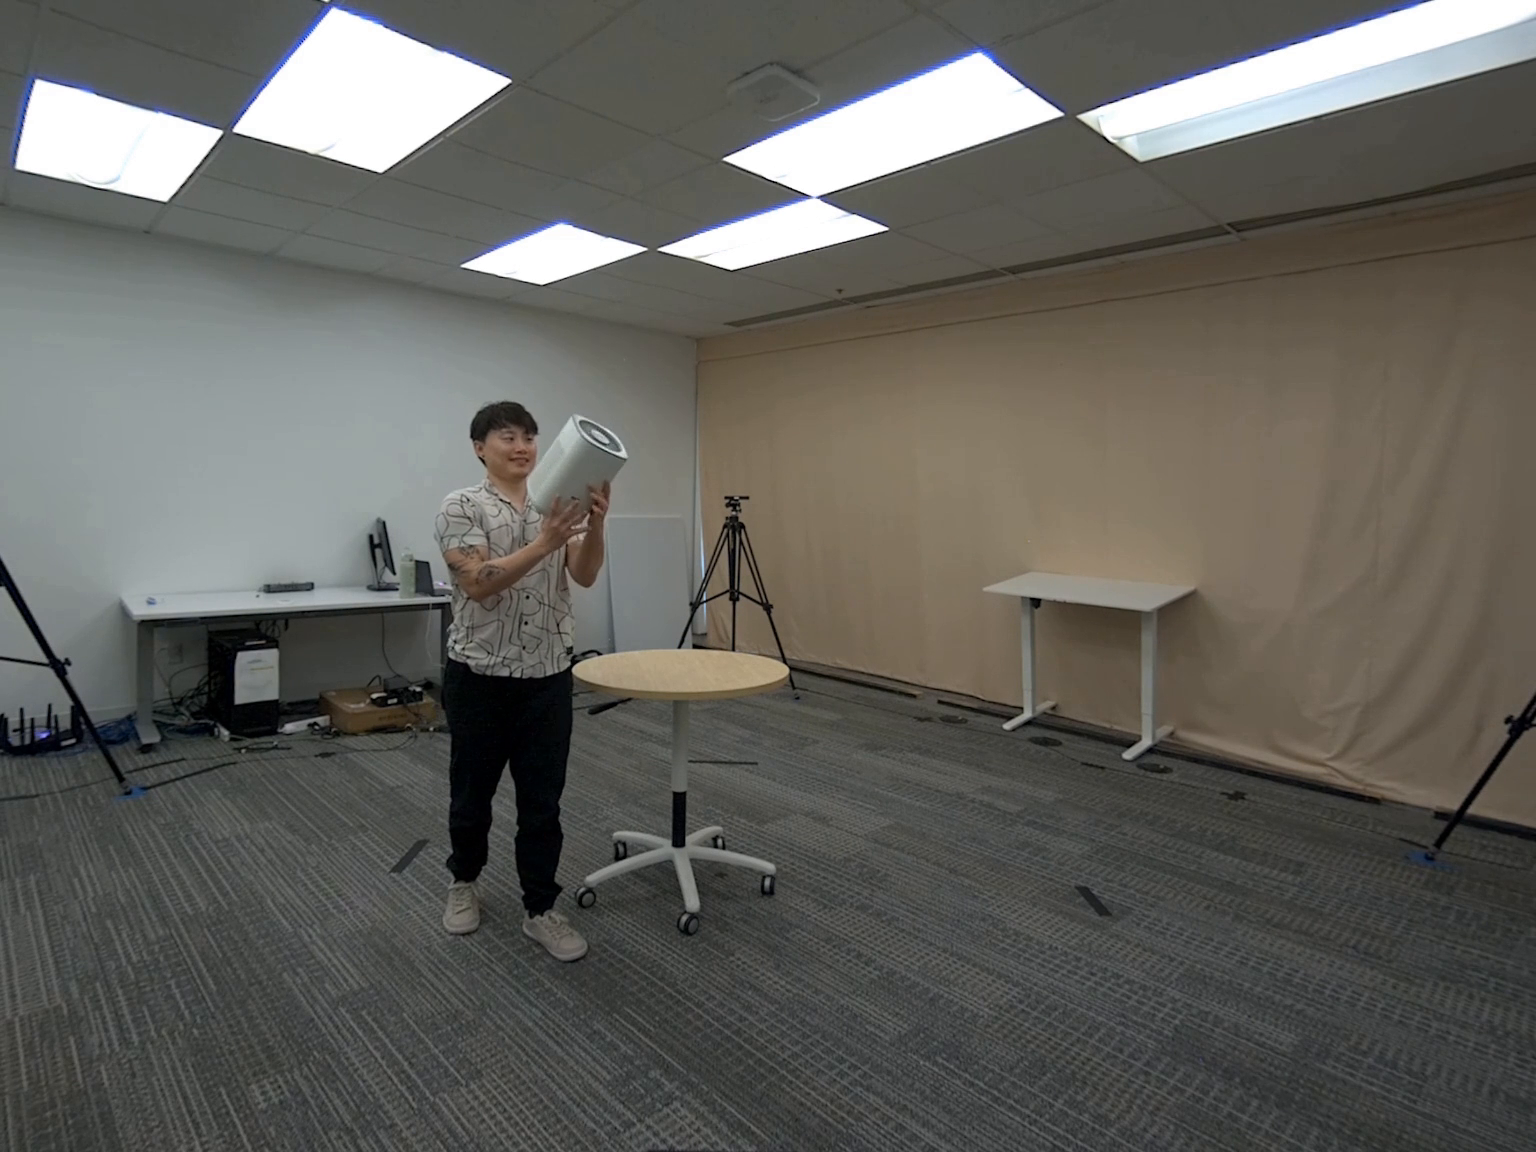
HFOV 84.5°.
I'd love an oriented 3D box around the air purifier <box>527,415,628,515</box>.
[{"bbox_3d":[-0.558,-0.295,2.378,0.166,0.265,0.177,22,24,-45],"label":"air purifier"}]
